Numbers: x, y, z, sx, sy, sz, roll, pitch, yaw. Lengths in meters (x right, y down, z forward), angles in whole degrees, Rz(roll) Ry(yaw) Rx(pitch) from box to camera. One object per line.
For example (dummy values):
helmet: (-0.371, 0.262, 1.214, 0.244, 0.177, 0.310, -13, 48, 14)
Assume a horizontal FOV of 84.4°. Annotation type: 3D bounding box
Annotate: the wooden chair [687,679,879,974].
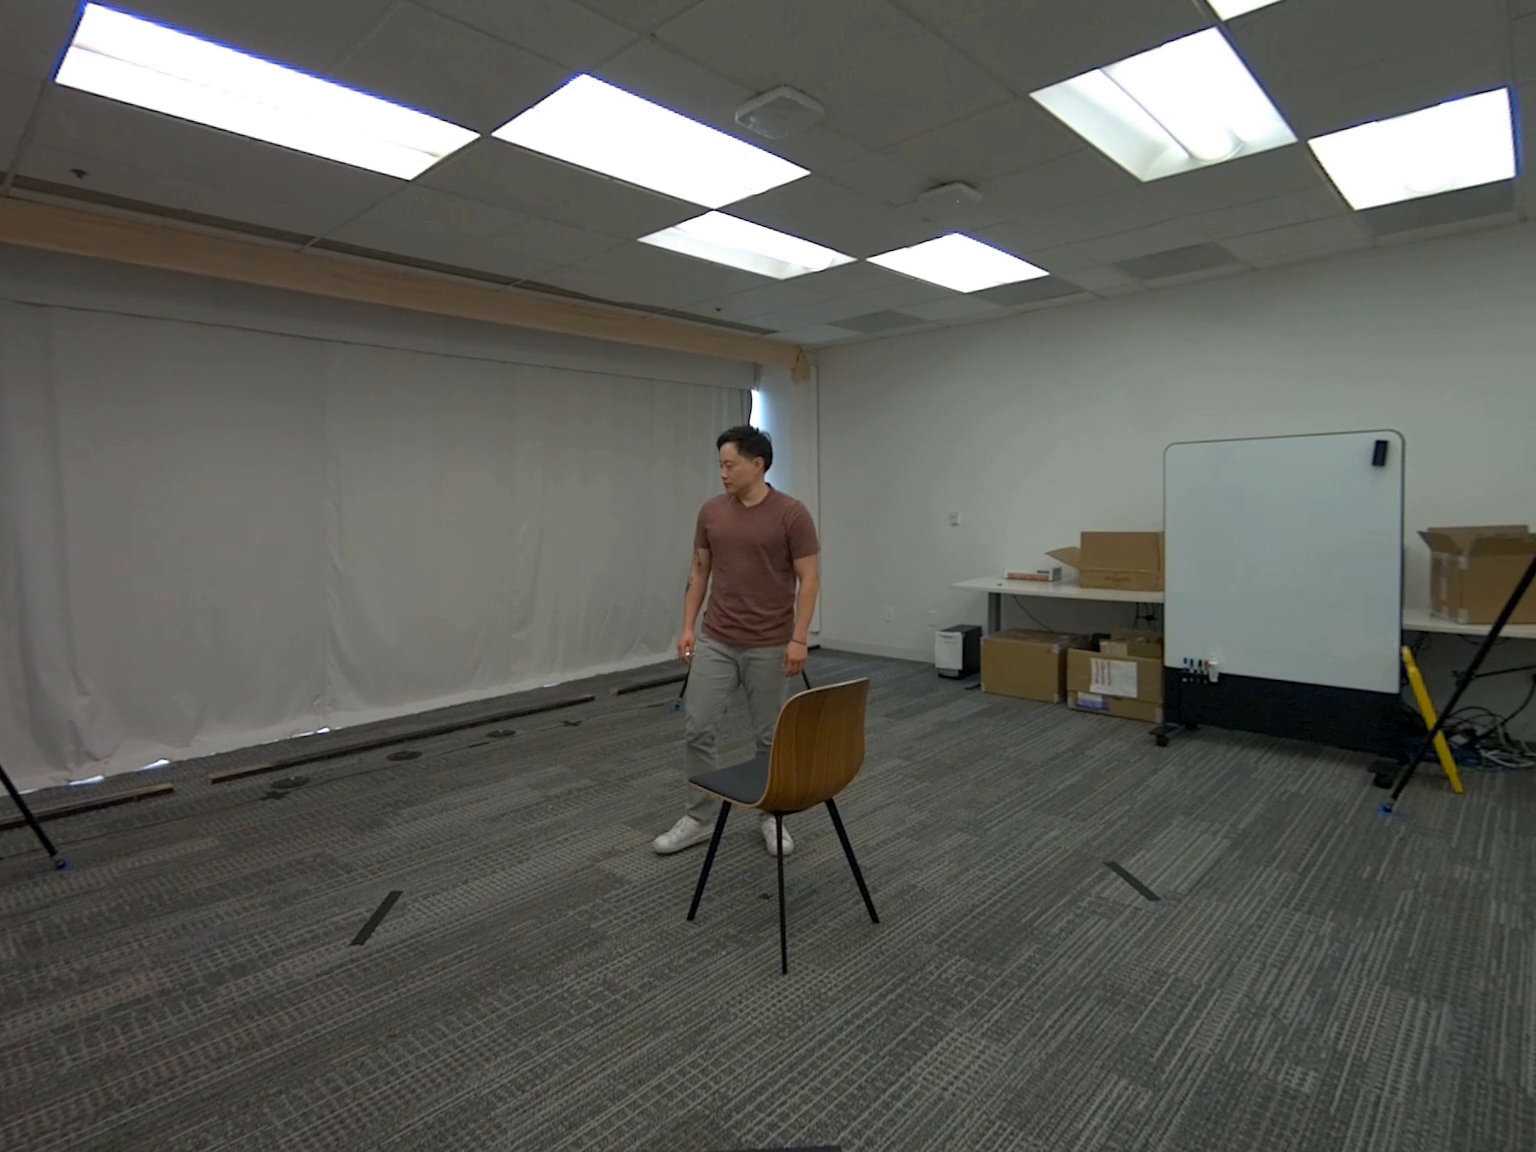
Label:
wooden chair: (0.038, 0.719, 2.782, 0.464, 0.873, 0.541, -5, 10, -43)
